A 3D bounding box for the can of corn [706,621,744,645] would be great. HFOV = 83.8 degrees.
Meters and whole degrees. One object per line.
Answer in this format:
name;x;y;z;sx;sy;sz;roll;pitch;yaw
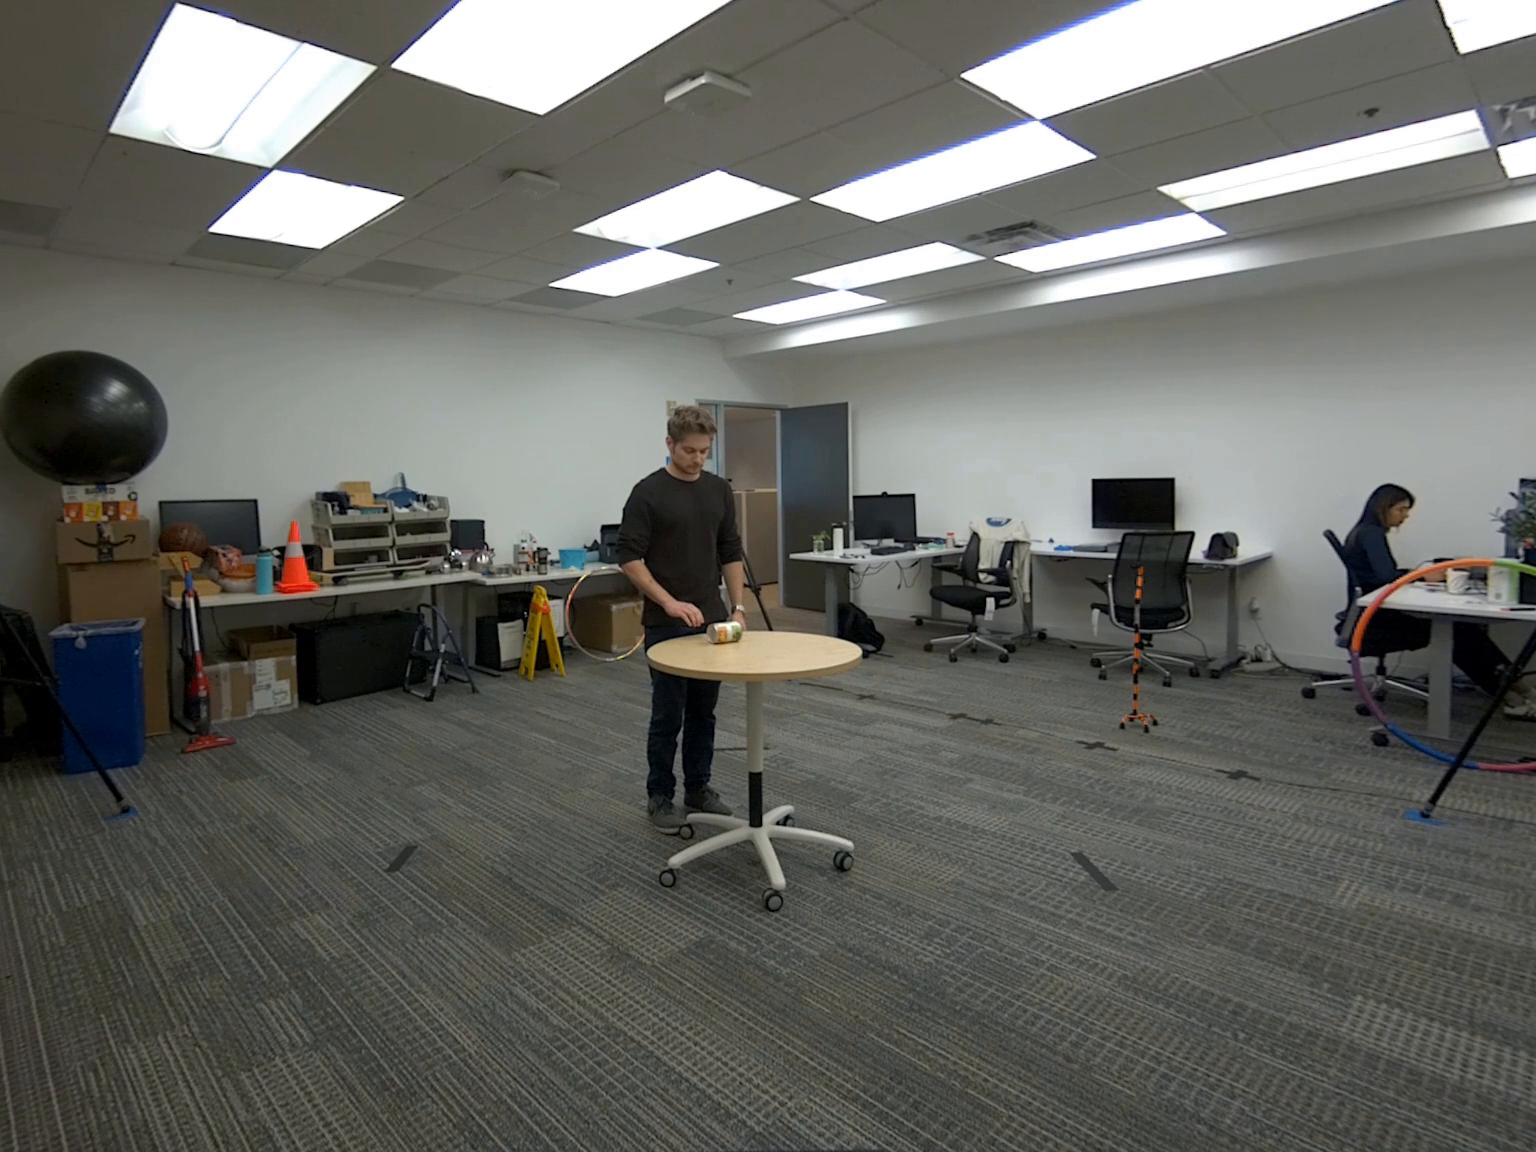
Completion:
can of corn;-0.160;0.212;3.200;0.108;0.074;0.076;-4;5;-34
